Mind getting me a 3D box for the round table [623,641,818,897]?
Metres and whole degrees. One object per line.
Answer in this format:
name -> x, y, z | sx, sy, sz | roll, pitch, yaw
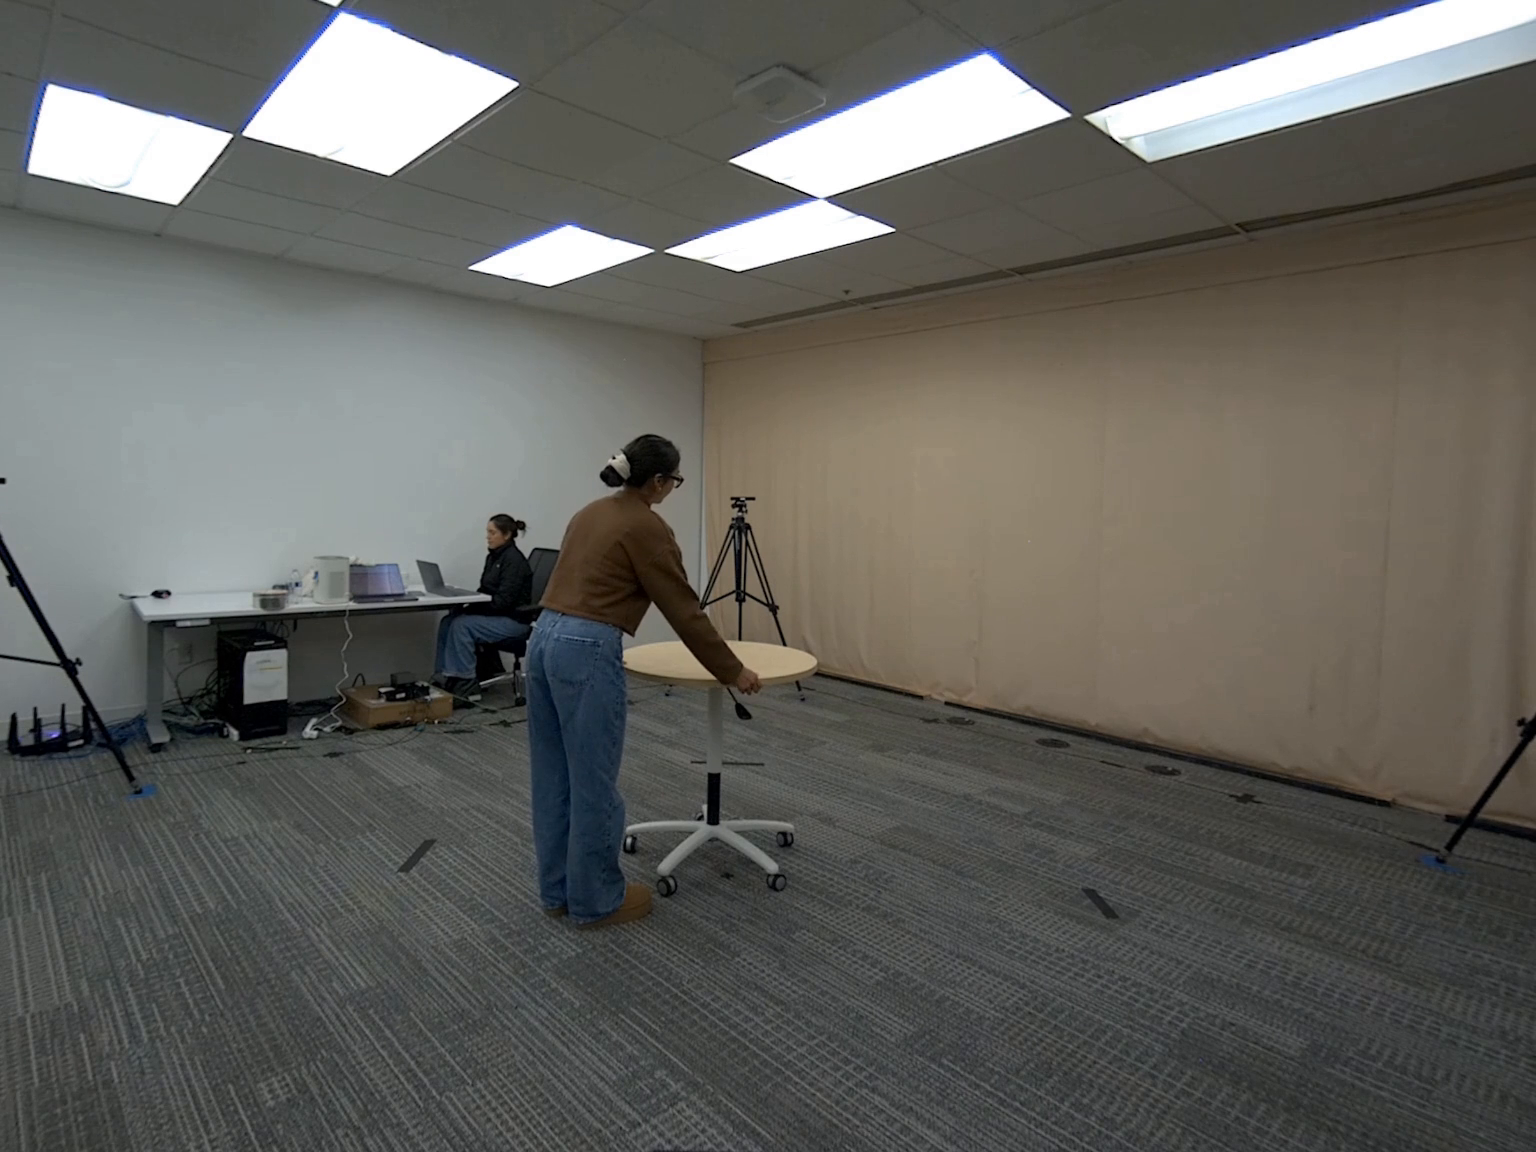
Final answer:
round table -> -0.211, 0.706, 3.227 | 0.763, 0.792, 0.767 | 1, 4, -1
